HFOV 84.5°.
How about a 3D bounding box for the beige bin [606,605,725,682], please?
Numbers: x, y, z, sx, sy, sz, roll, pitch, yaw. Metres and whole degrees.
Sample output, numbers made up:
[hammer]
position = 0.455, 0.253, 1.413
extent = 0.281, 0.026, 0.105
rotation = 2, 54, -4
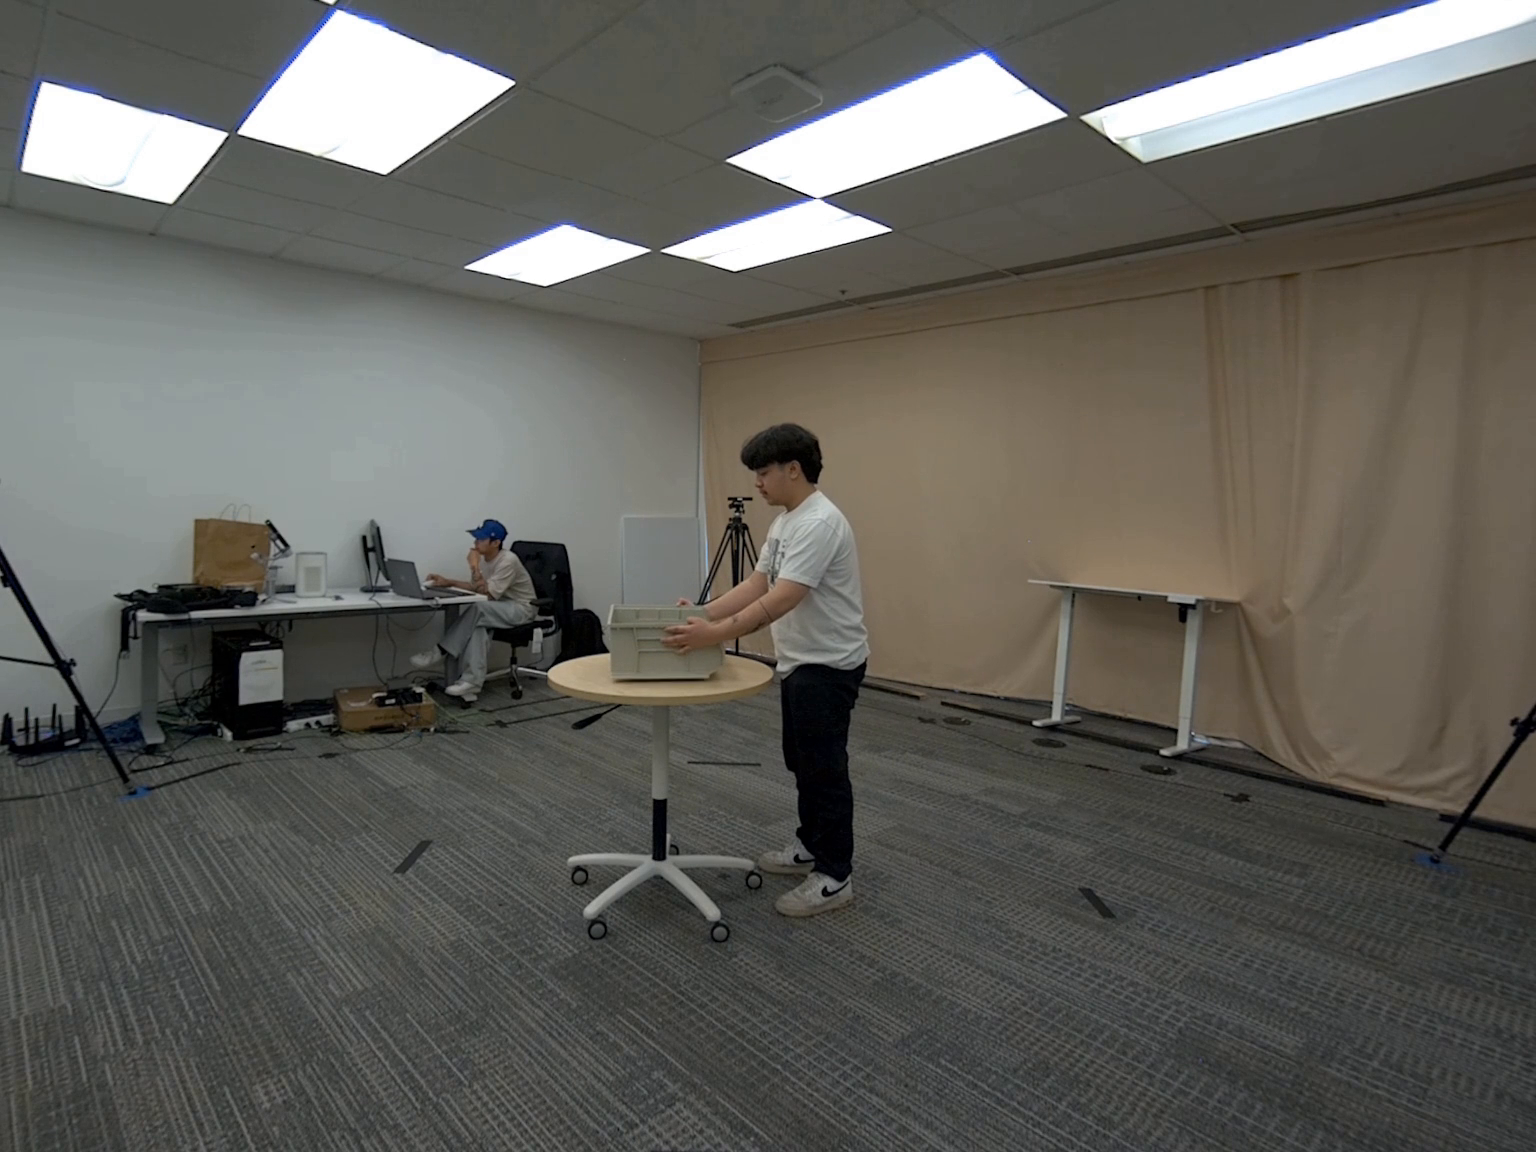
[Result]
[beige bin]
position = -0.358, 0.222, 2.892
extent = 0.375, 0.188, 0.426
rotation = -2, 7, -7
